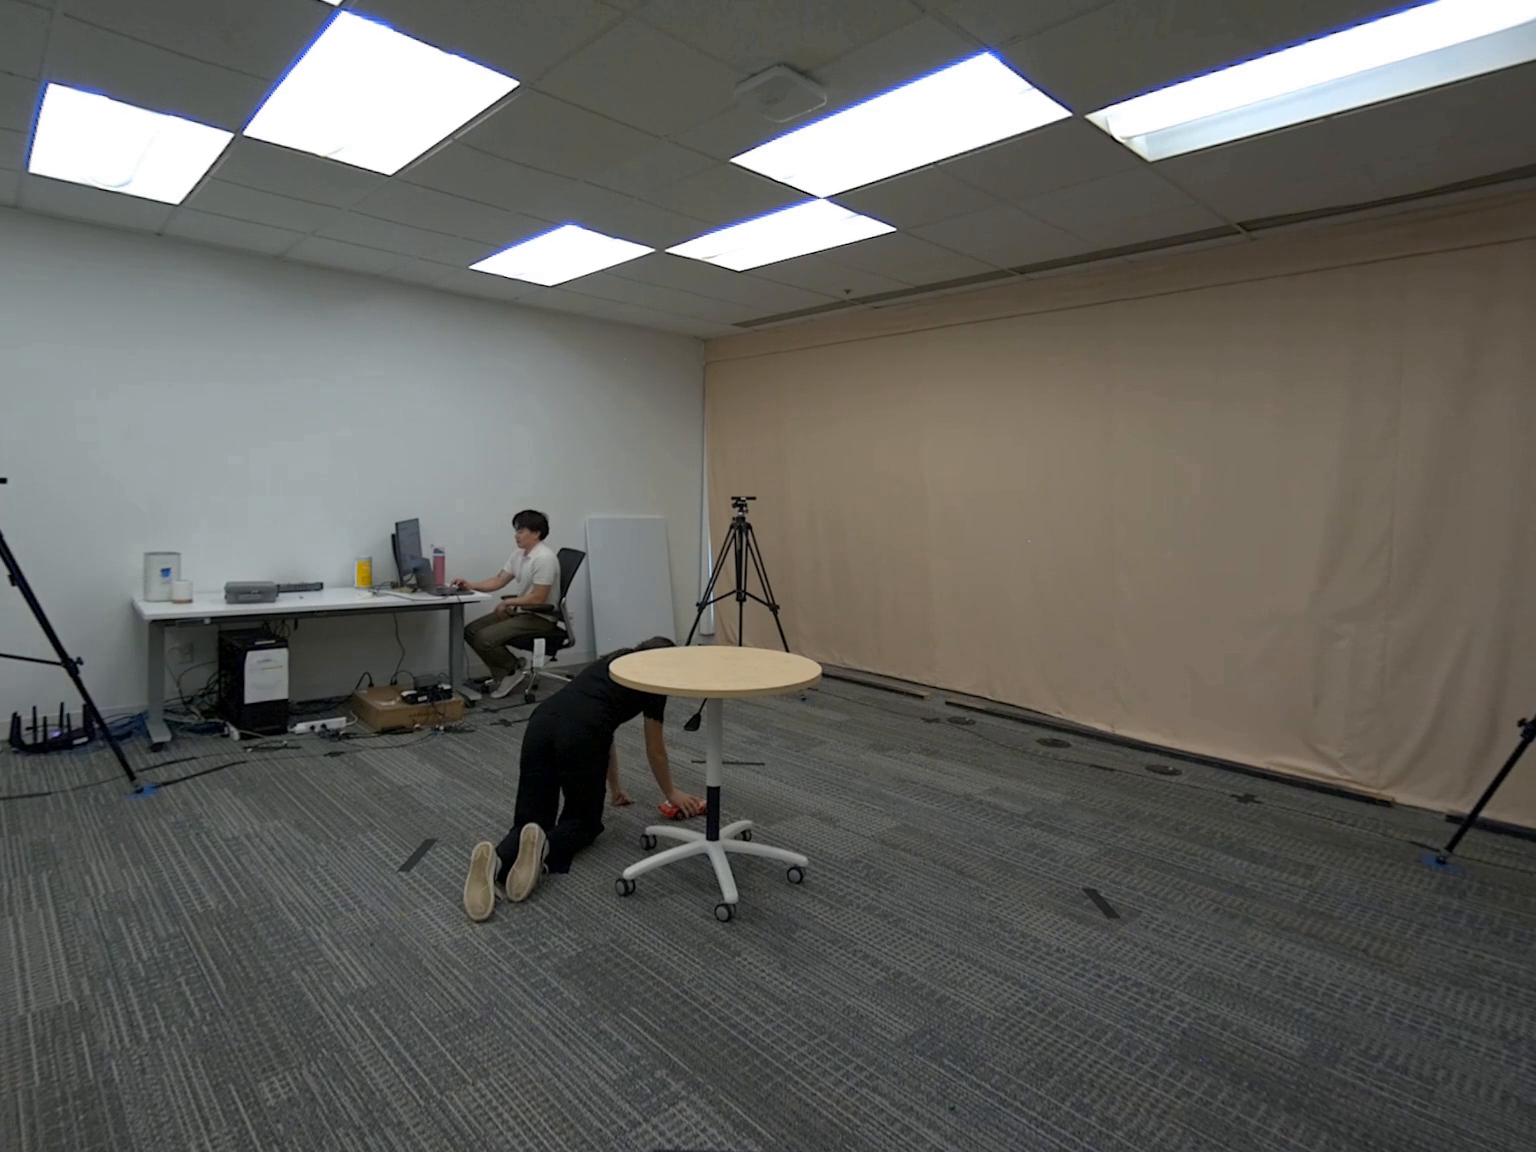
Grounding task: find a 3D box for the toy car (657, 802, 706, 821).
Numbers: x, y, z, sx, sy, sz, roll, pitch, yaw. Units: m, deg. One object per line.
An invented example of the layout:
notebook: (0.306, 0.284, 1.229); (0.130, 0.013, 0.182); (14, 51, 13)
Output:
toy car: (-0.382, 1.021, 3.702); (0.248, 0.083, 0.133); (11, 0, -30)
